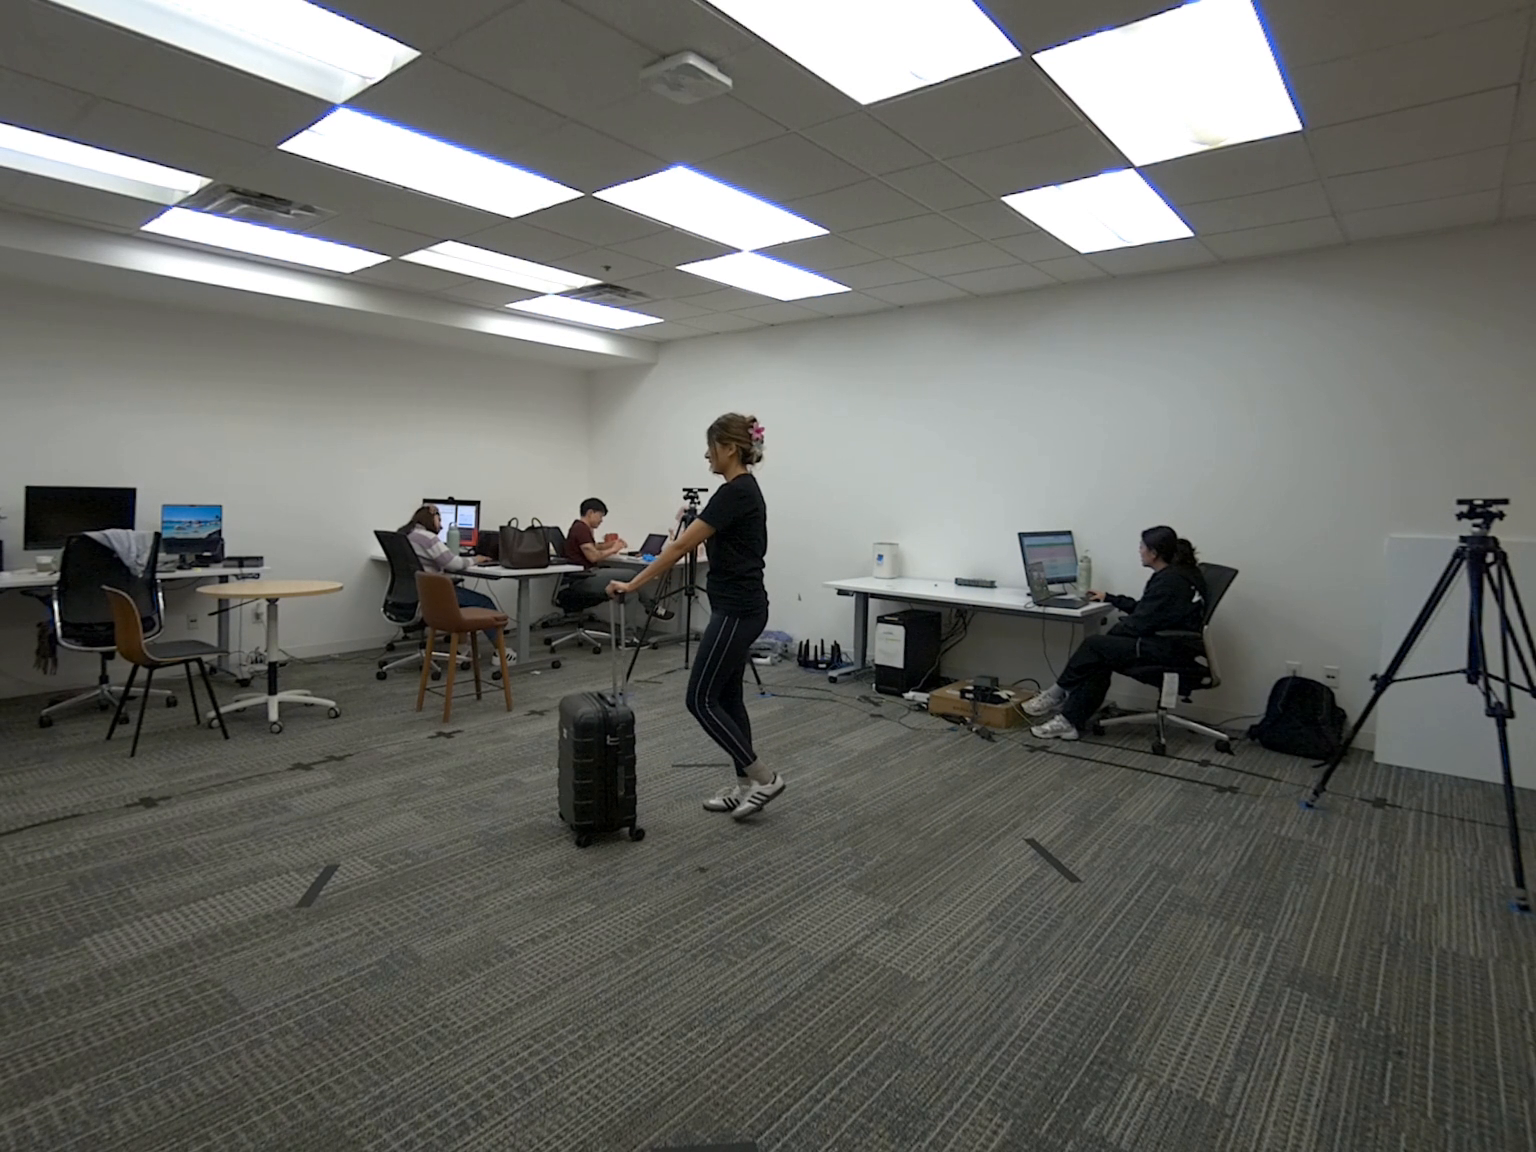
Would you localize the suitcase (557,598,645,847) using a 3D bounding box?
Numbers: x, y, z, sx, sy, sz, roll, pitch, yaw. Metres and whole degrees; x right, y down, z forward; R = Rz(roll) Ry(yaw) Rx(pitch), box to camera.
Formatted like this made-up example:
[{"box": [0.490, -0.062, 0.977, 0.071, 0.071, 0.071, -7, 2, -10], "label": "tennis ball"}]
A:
[{"box": [-0.715, 0.557, 3.414, 0.251, 0.974, 0.394, -3, 5, -24], "label": "suitcase"}]
